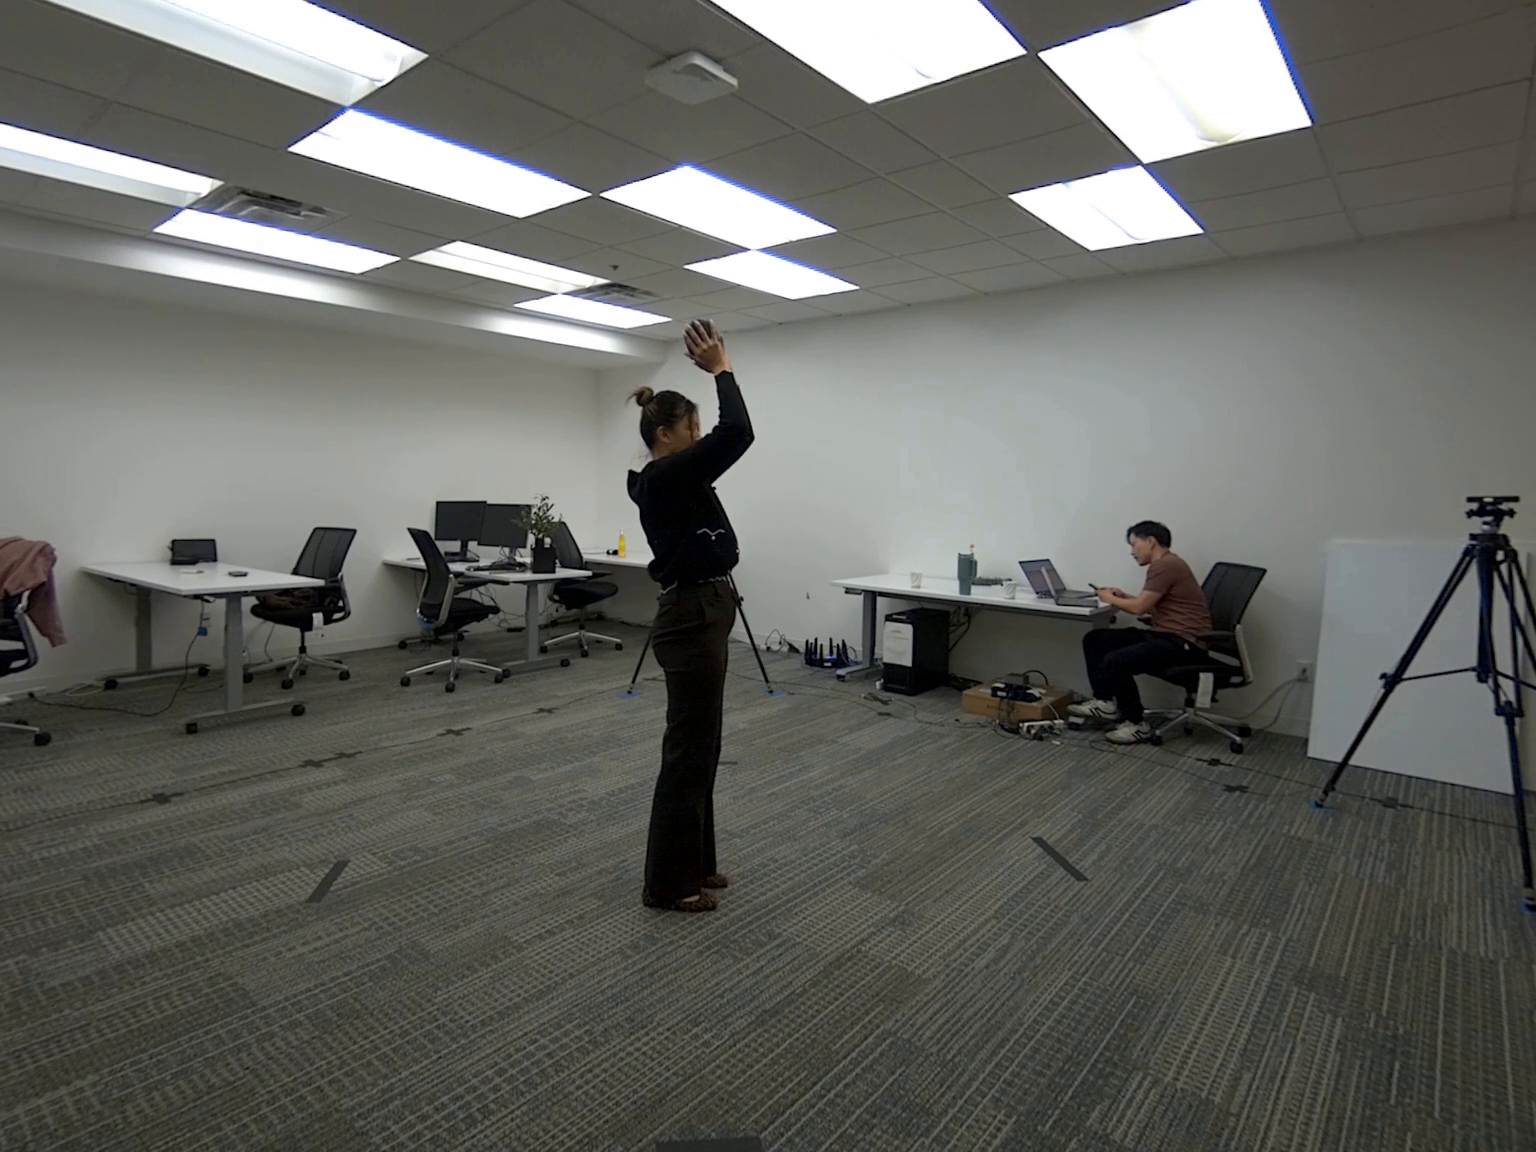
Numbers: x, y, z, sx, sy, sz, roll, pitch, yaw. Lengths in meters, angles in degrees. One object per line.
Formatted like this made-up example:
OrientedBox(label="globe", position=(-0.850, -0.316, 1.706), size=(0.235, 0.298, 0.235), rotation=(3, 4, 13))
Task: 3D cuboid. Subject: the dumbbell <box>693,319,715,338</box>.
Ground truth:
OrientedBox(label="dumbbell", position=(-0.212, -0.772, 2.834), size=(0.123, 0.108, 0.293), rotation=(16, 7, 2))
